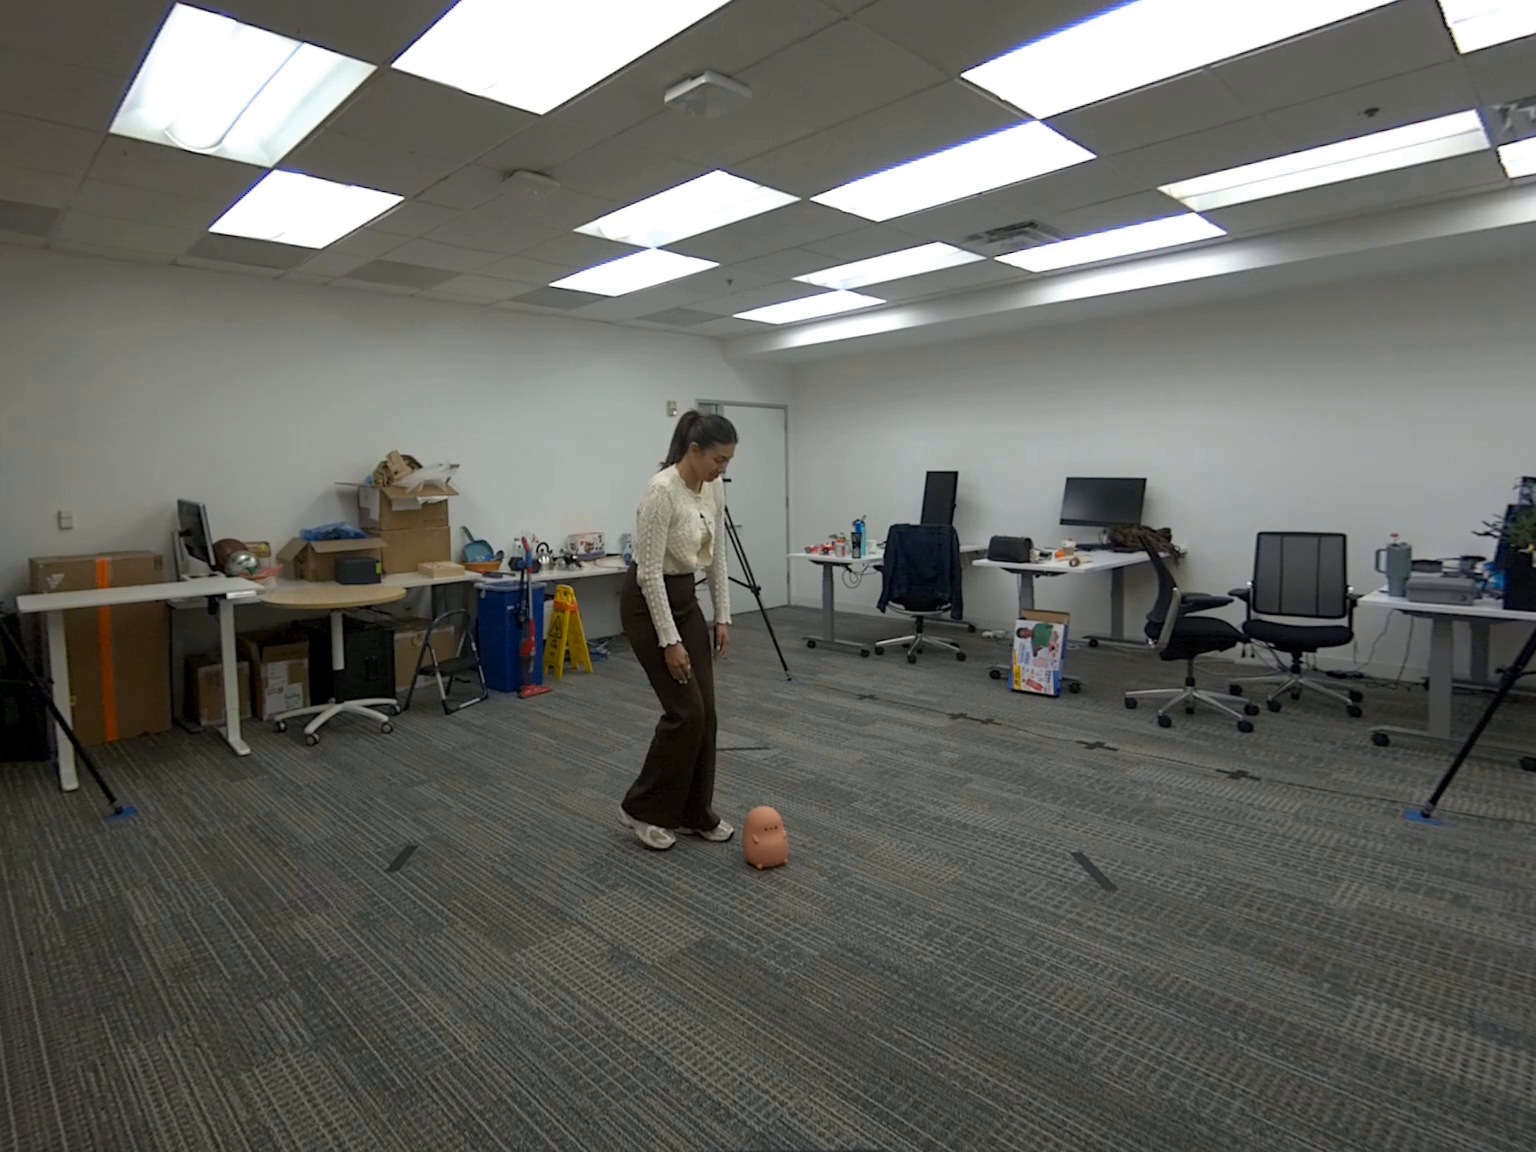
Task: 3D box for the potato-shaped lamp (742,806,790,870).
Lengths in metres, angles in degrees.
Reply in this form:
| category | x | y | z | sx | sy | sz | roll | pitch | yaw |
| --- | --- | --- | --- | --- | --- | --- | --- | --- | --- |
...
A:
| category | x | y | z | sx | sy | sz | roll | pitch | yaw |
| --- | --- | --- | --- | --- | --- | --- | --- | --- | --- |
| potato-shaped lamp | -0.007 | 0.941 | 3.115 | 0.162 | 0.197 | 0.175 | -2 | 5 | -19 |
